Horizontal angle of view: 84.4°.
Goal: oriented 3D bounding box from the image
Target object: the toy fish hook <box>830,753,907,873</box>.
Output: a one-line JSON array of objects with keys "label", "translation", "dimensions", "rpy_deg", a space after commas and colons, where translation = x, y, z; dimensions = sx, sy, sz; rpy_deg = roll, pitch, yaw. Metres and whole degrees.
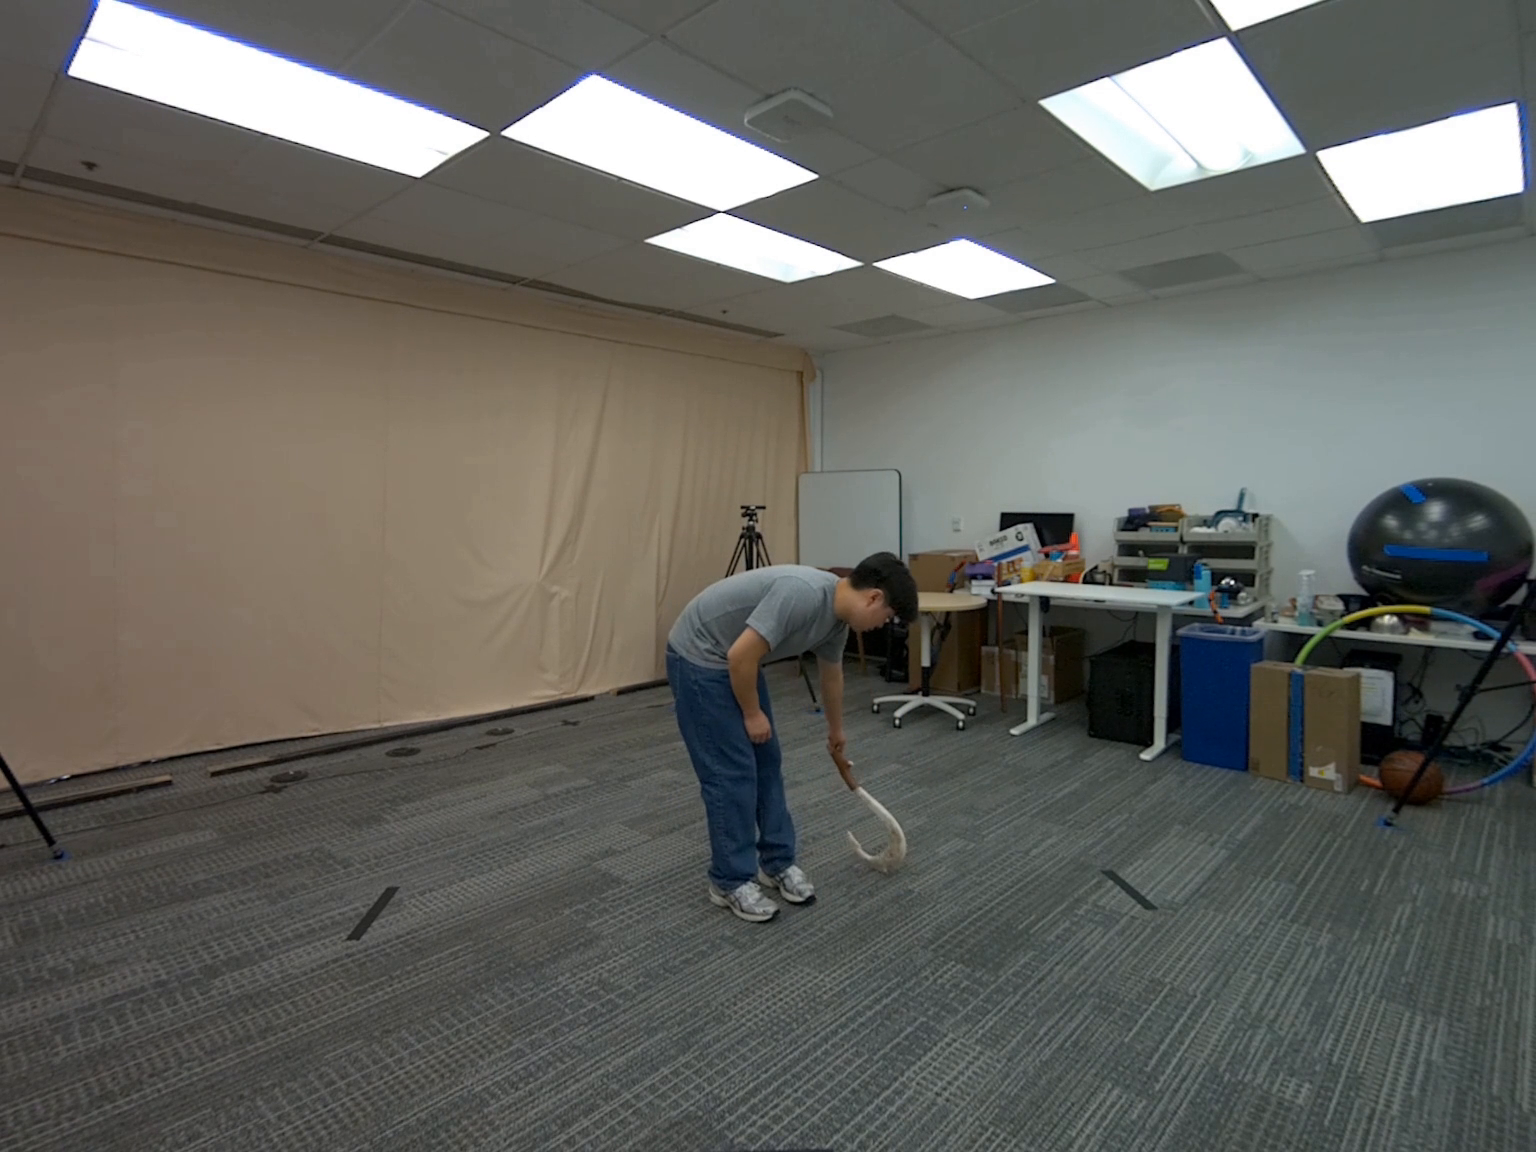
[{"label": "toy fish hook", "translation": [0.344, 0.901, 3.266], "dimensions": [0.226, 0.520, 0.047], "rpy_deg": [-43, -27, 20]}]
